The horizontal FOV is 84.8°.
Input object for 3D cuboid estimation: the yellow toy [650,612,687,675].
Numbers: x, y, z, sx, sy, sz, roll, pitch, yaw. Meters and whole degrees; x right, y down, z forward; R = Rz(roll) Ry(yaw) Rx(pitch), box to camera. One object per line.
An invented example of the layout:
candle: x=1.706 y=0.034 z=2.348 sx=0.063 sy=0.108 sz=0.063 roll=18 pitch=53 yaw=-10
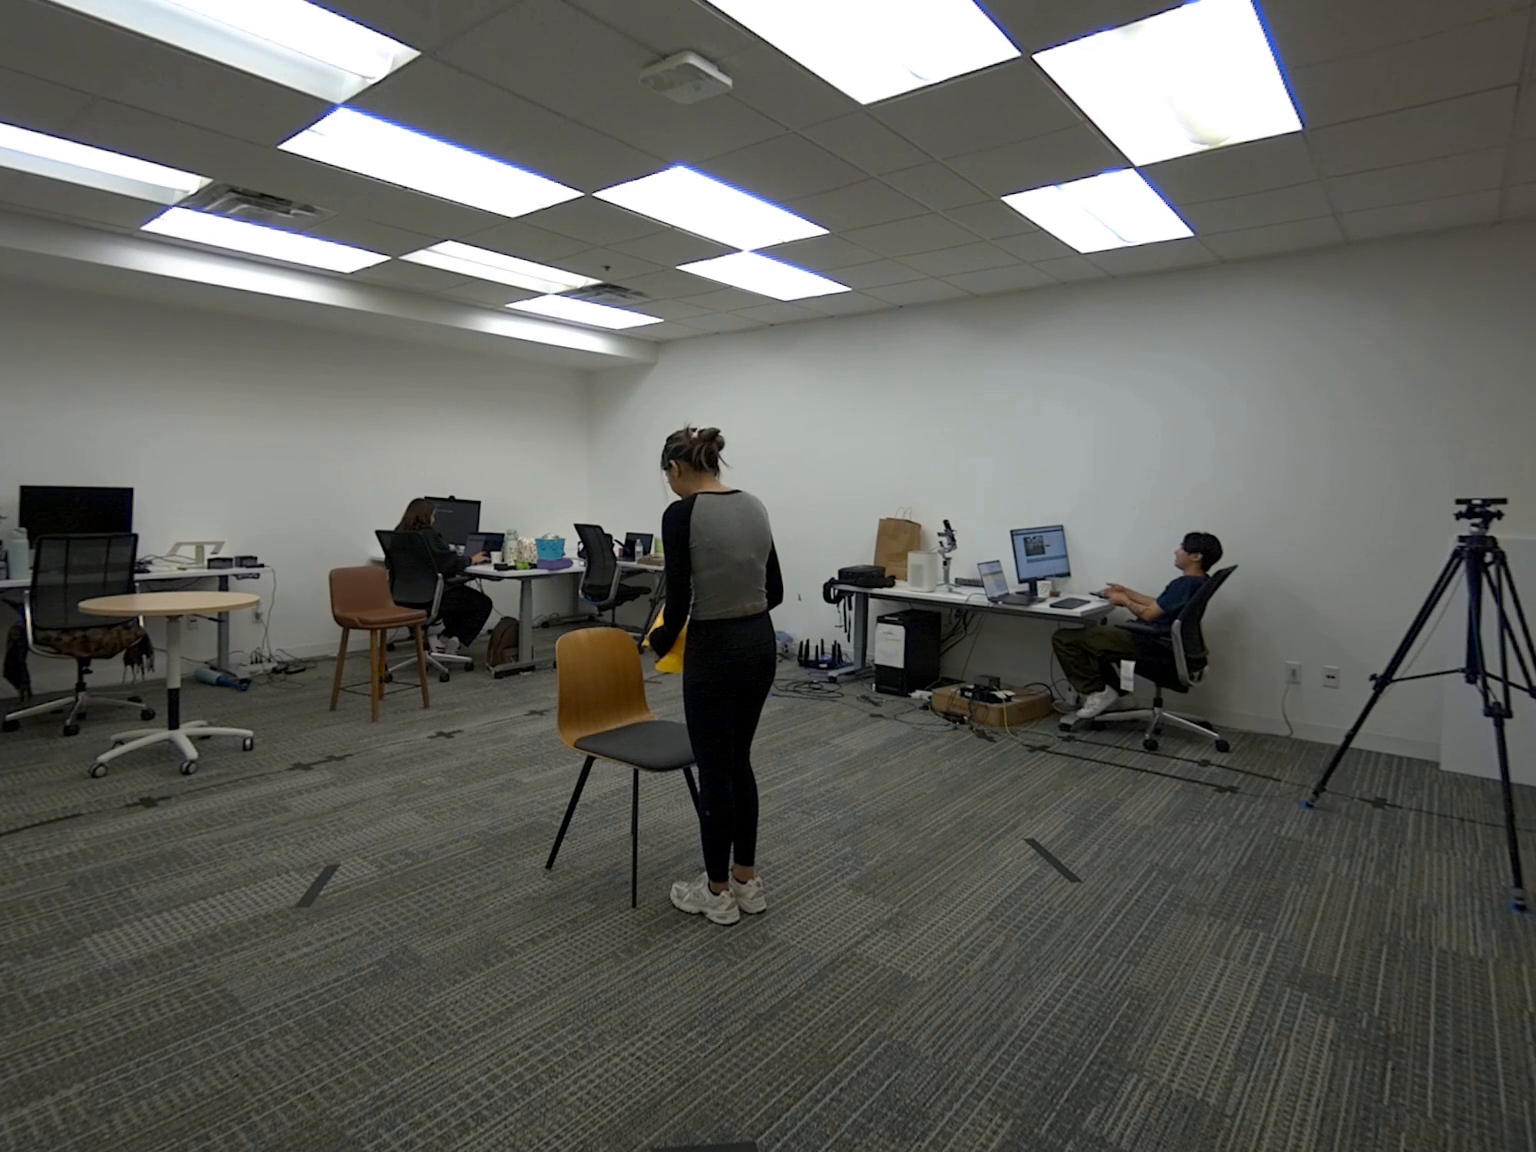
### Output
yellow toy: x=-0.302 y=0.191 z=2.907 sx=0.199 sy=0.230 sz=0.199 roll=3 pitch=7 yaw=41
